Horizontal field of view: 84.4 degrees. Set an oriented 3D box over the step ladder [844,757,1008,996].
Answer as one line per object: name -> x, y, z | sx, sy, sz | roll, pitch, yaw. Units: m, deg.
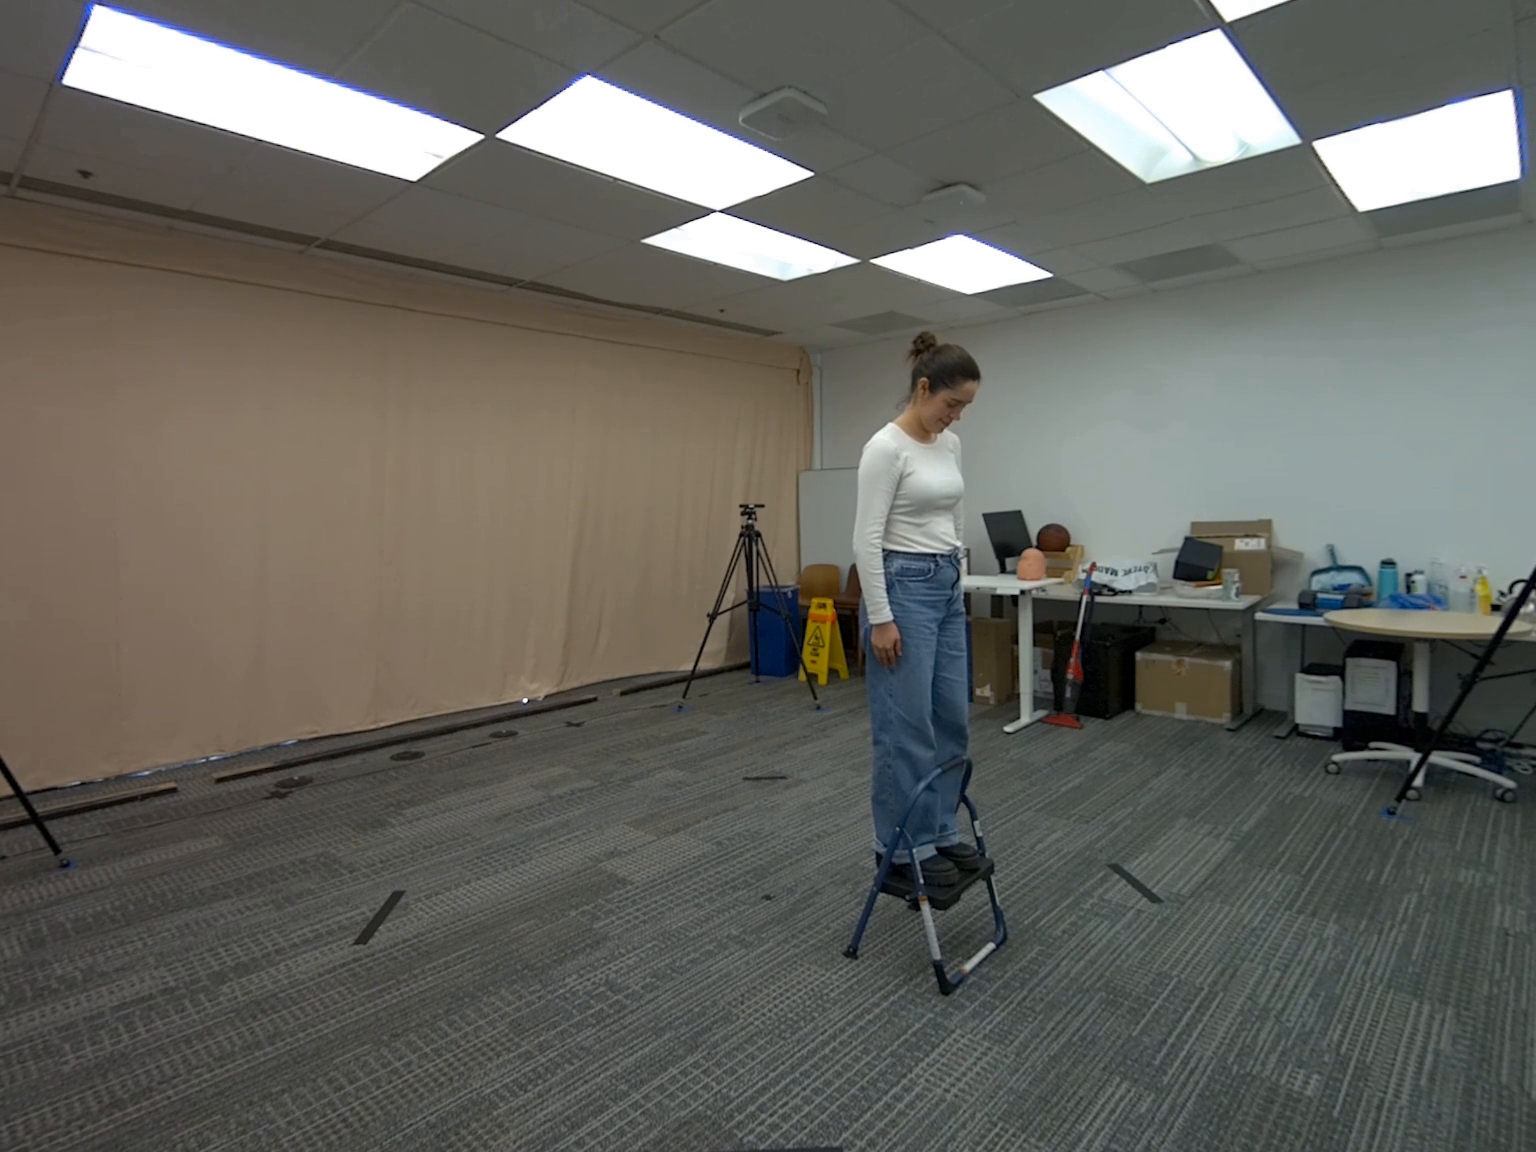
step ladder -> 0.500, 0.862, 2.612 | 0.361, 0.604, 0.418 | 3, 5, 40
